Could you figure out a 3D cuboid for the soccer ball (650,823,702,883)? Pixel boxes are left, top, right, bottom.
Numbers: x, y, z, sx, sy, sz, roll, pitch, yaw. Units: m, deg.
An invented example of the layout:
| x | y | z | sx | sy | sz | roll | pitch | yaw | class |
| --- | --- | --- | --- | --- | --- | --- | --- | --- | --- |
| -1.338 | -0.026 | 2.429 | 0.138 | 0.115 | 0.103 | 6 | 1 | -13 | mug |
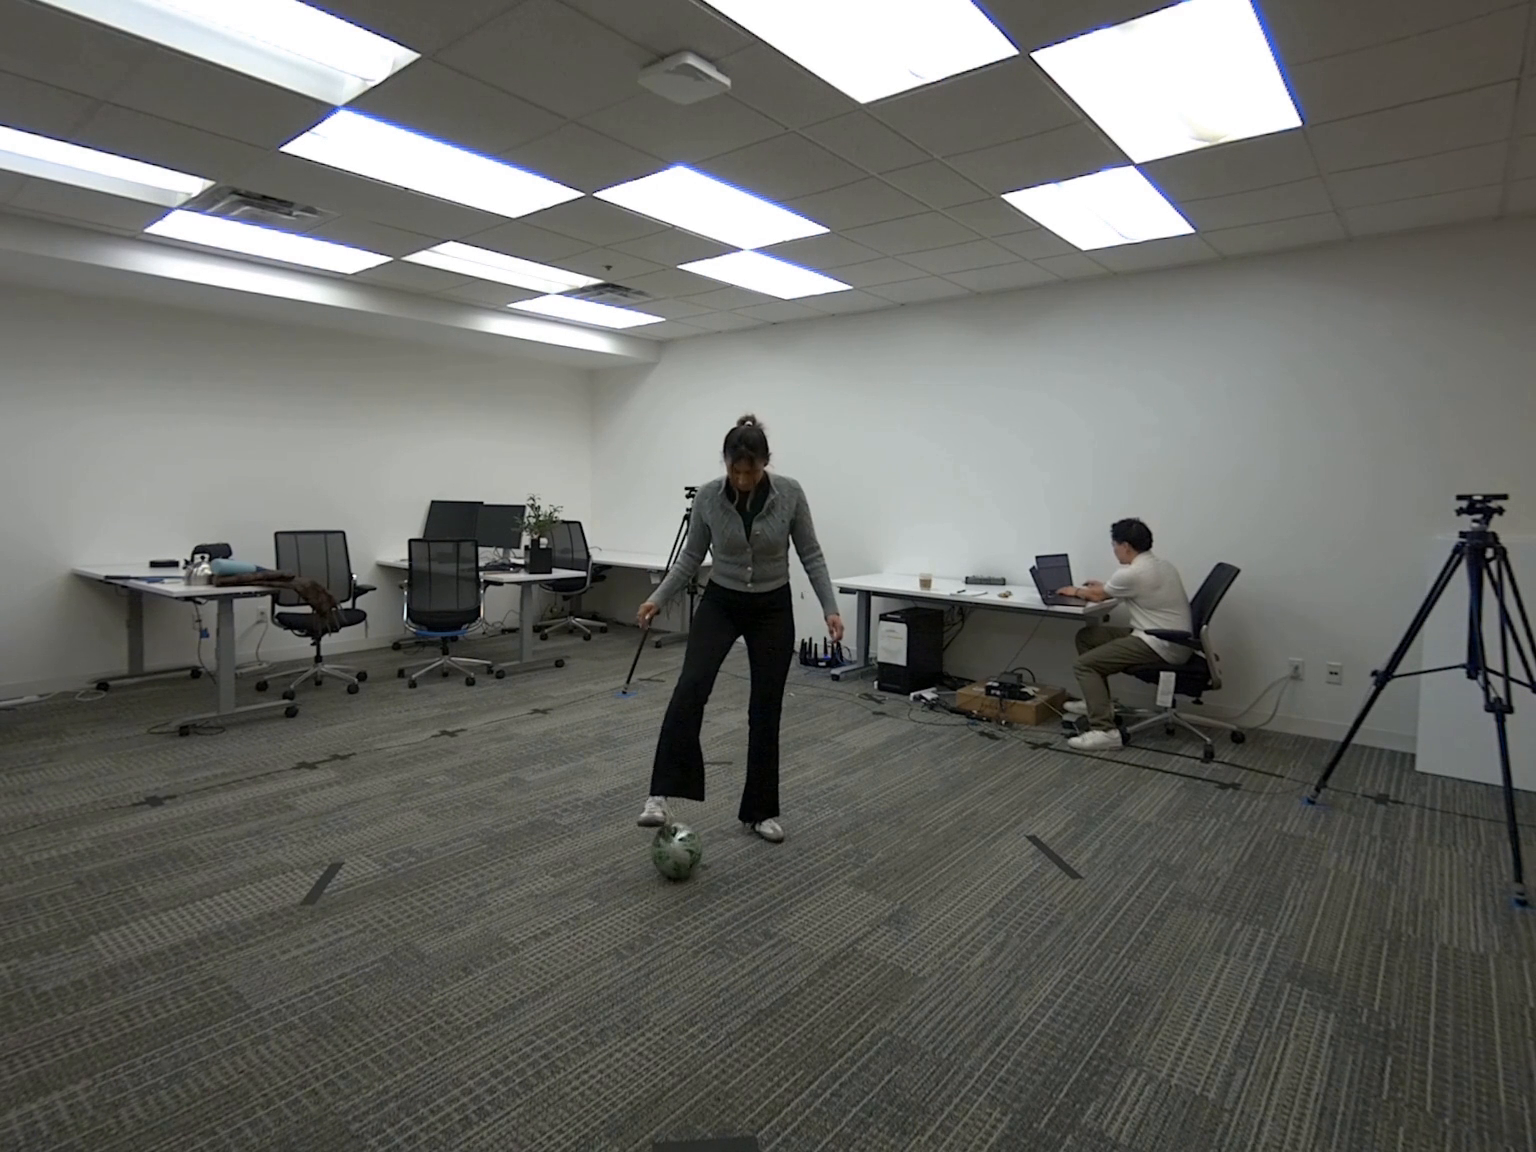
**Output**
| x | y | z | sx | sy | sz | roll | pitch | yaw | class |
| --- | --- | --- | --- | --- | --- | --- | --- | --- | --- |
| -0.330 | 0.976 | 3.038 | 0.187 | 0.187 | 0.188 | 1 | 4 | -2 | soccer ball |
